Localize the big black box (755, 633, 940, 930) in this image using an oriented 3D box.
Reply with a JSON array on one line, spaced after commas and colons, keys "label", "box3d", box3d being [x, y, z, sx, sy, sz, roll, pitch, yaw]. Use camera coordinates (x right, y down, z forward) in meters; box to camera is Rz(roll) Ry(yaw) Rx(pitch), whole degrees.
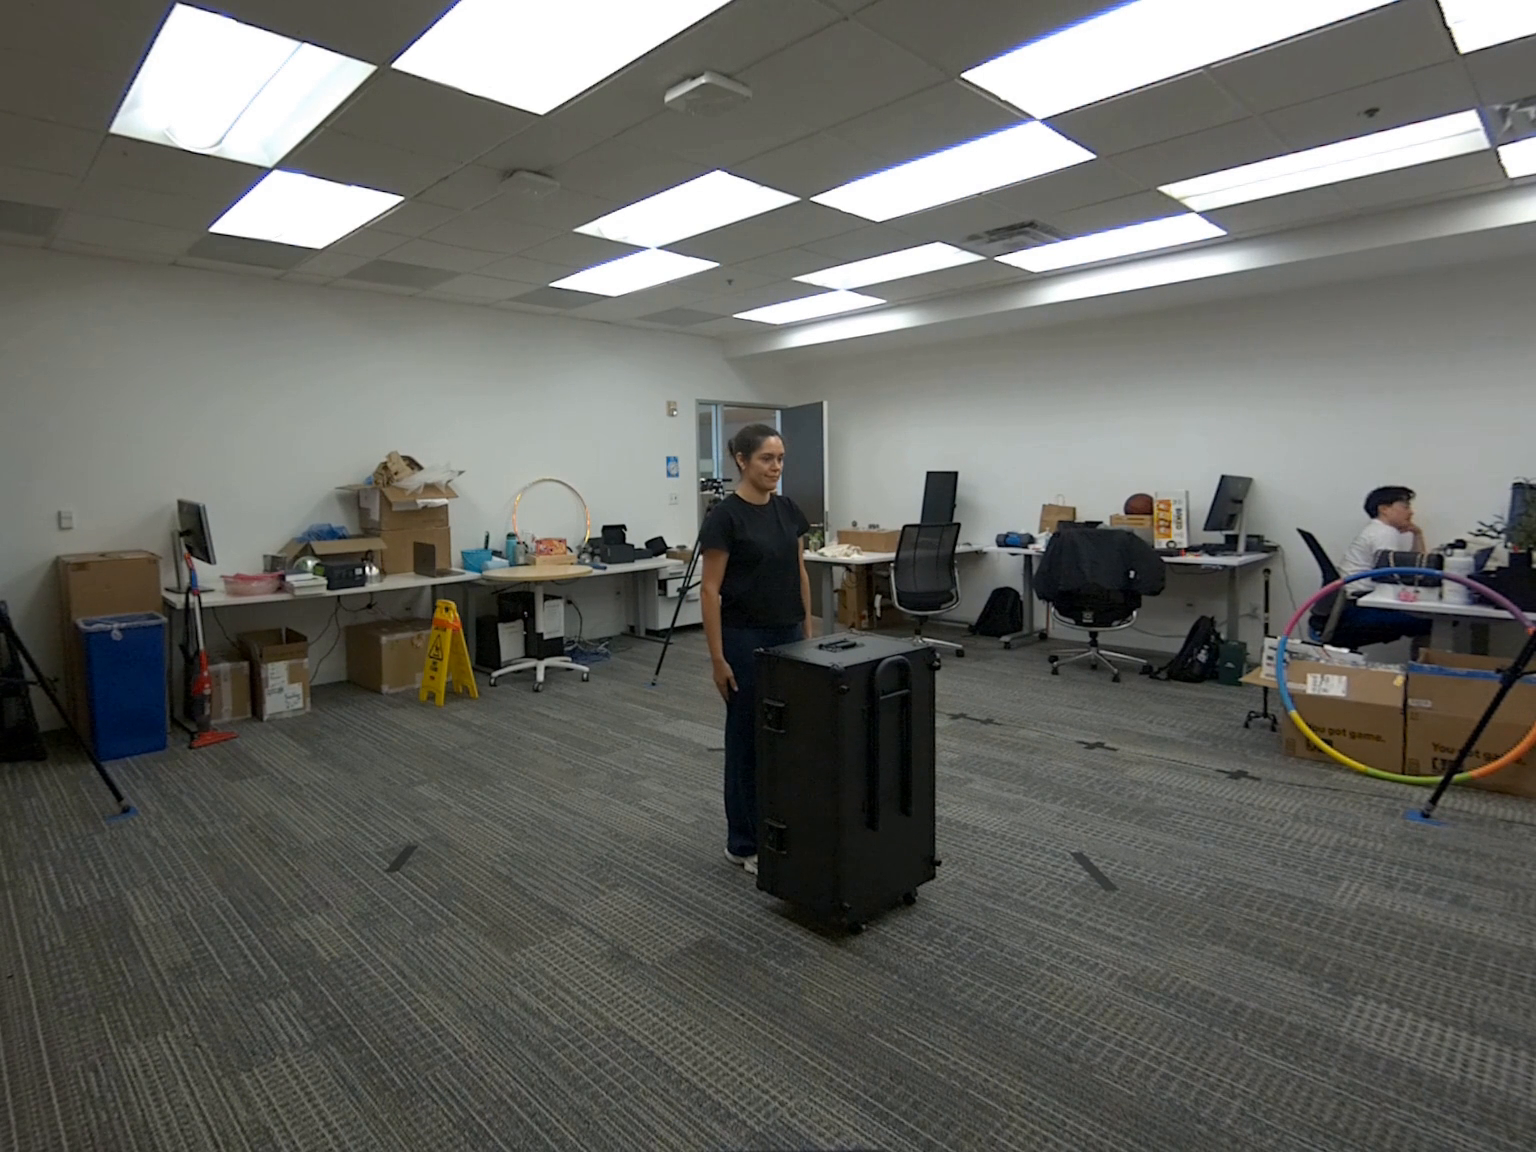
[{"label": "big black box", "box3d": [0.266, 0.653, 2.772, 0.507, 0.857, 0.409, -5, 7, -42]}]
